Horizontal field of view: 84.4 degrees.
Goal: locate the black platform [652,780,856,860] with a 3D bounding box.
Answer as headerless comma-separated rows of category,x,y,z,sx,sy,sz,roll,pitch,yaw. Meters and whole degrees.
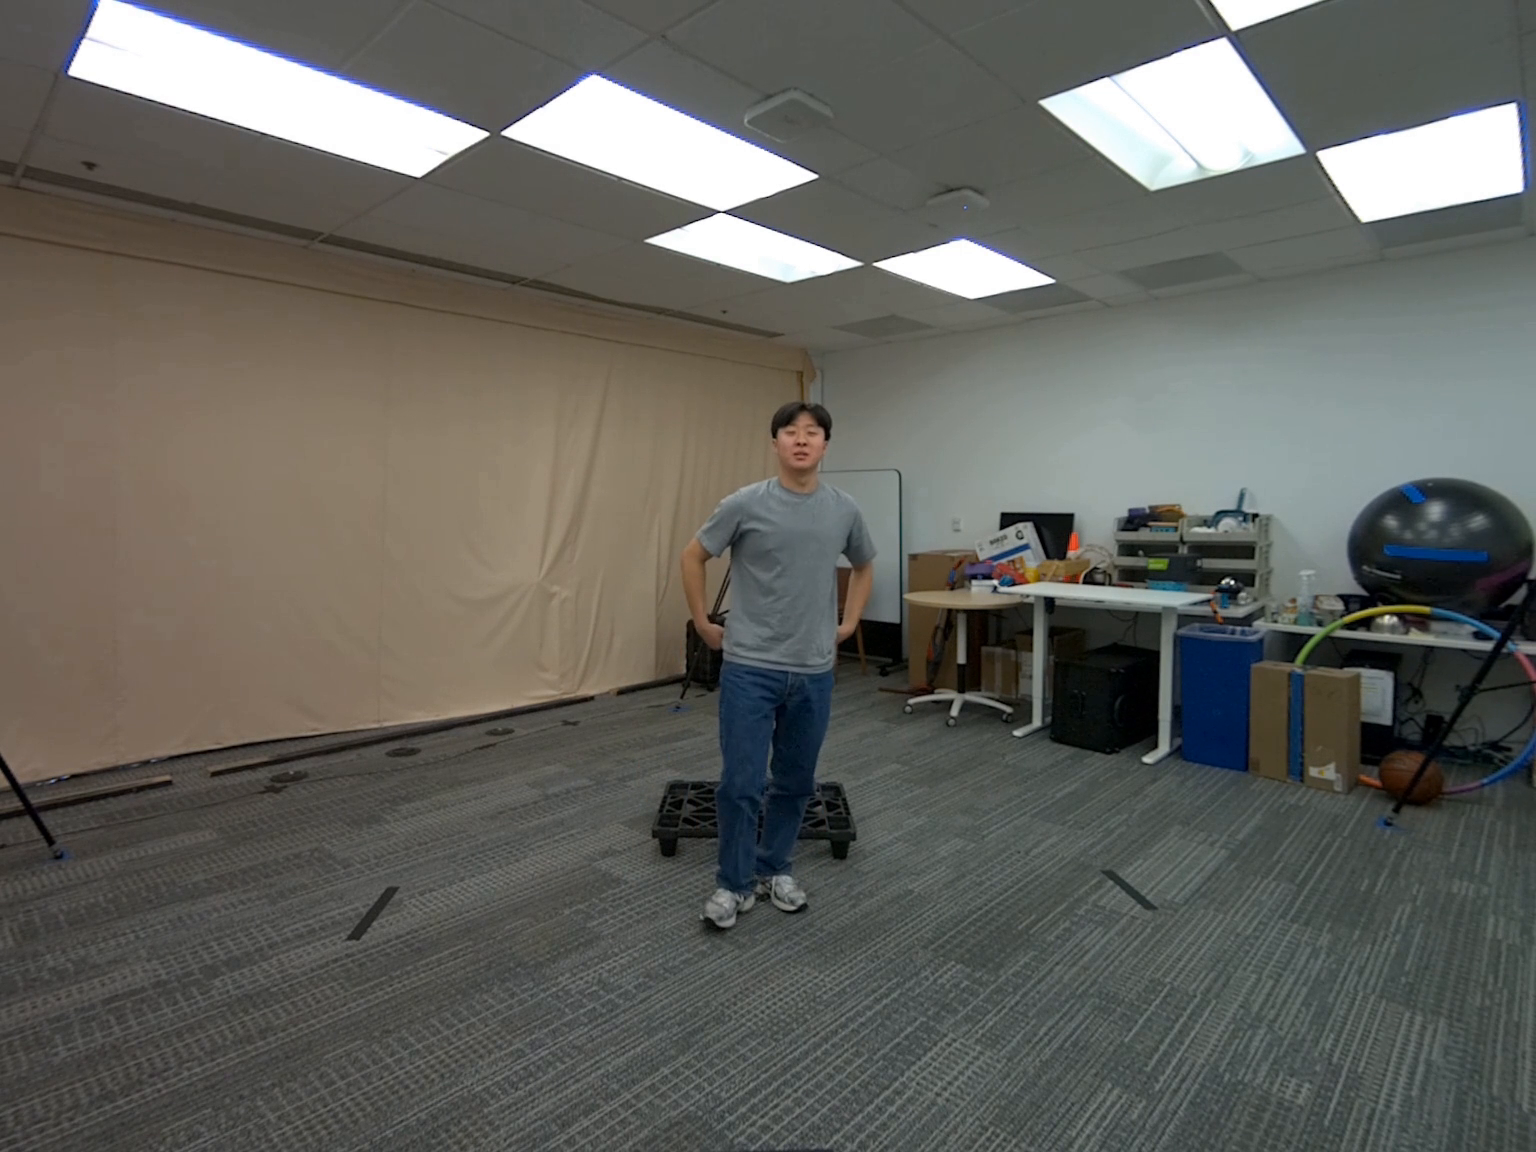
black platform,-0.054,1.025,3.551,0.808,0.143,0.605,0,5,2
